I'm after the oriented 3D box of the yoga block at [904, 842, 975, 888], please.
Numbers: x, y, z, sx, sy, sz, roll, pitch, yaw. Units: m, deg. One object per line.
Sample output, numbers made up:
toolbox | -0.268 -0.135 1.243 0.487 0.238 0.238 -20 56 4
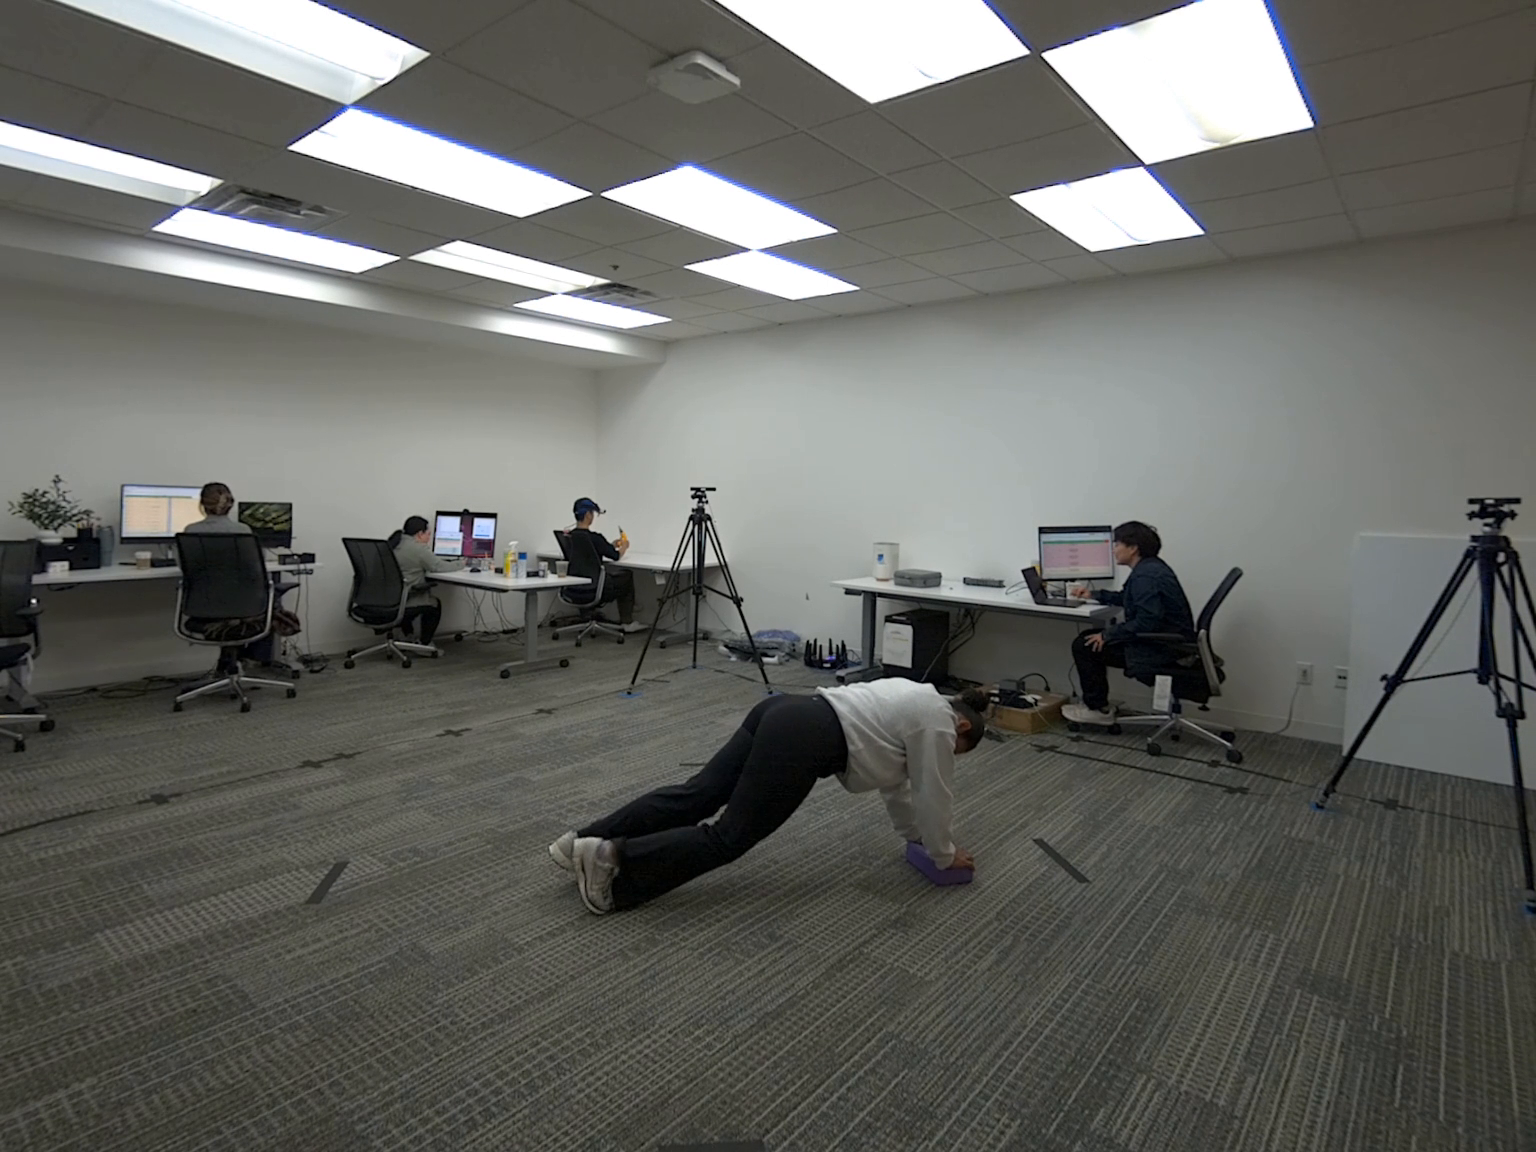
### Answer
yoga block | 0.625 1.055 3.136 0.146 0.076 0.235 0 6 -20
